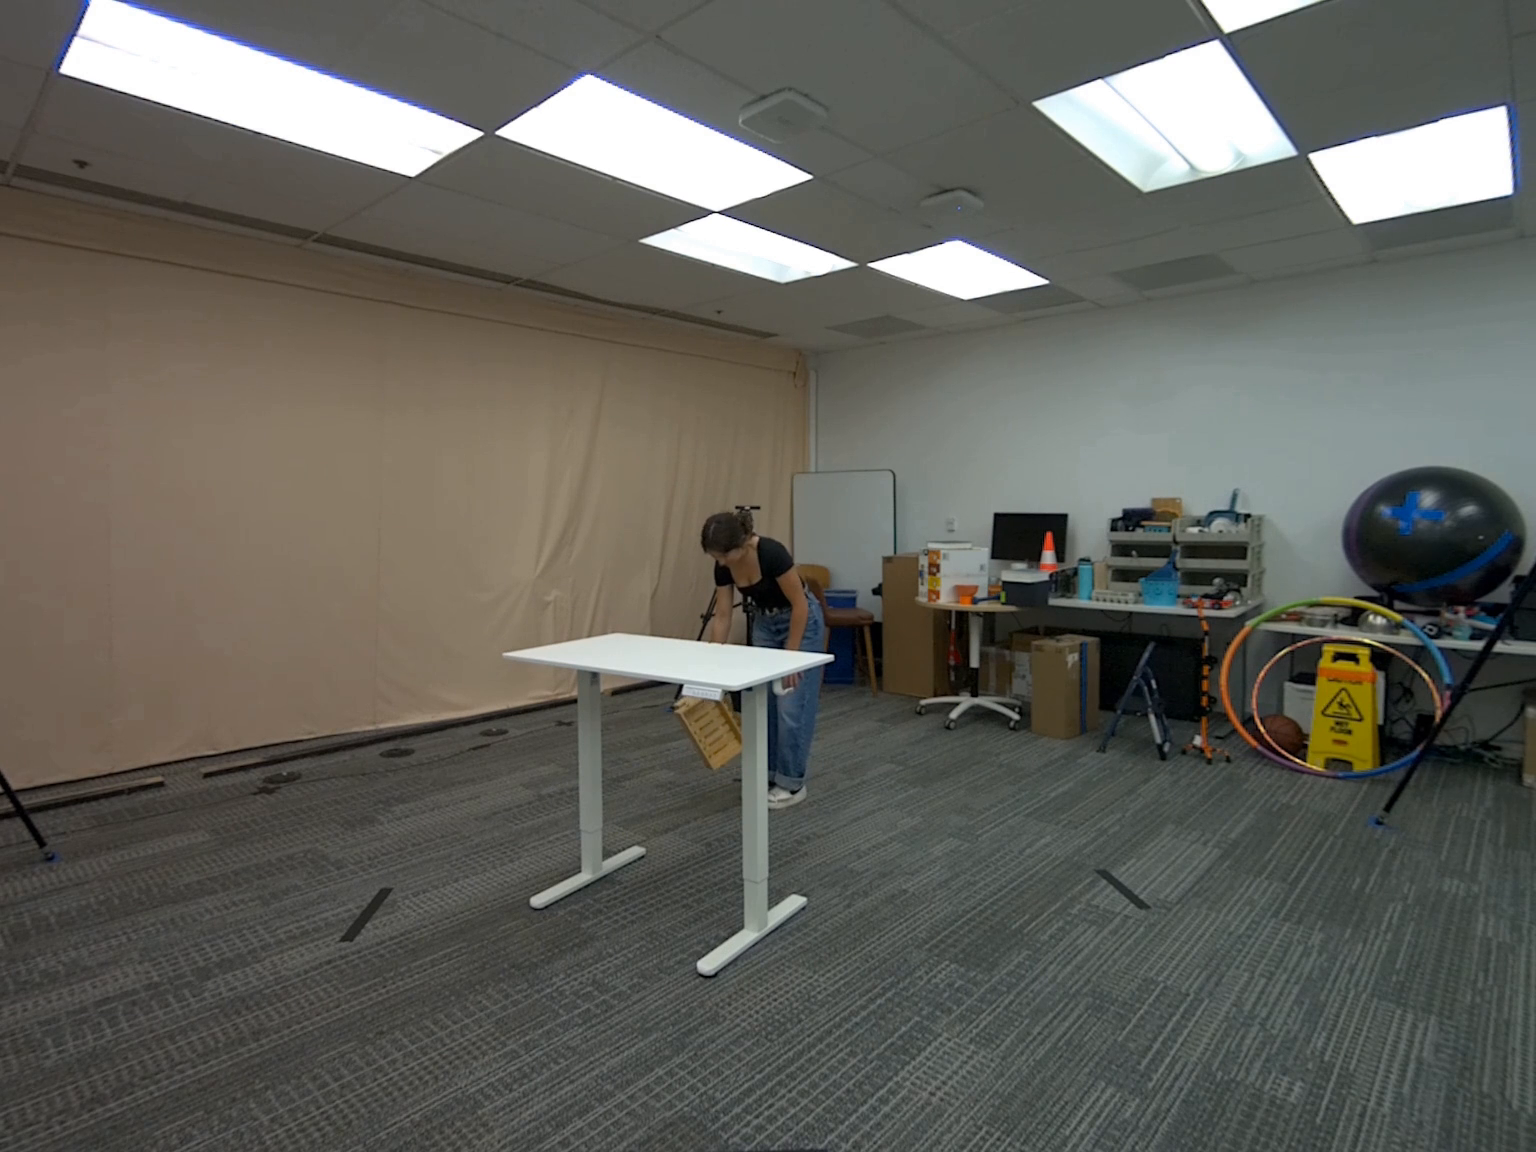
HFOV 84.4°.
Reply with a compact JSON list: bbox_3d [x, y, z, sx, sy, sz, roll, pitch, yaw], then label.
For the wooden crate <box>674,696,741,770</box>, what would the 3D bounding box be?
[{"bbox_3d":[-0.249,0.682,3.923,0.298,0.324,0.277,-31,2,-23],"label":"wooden crate"}]
